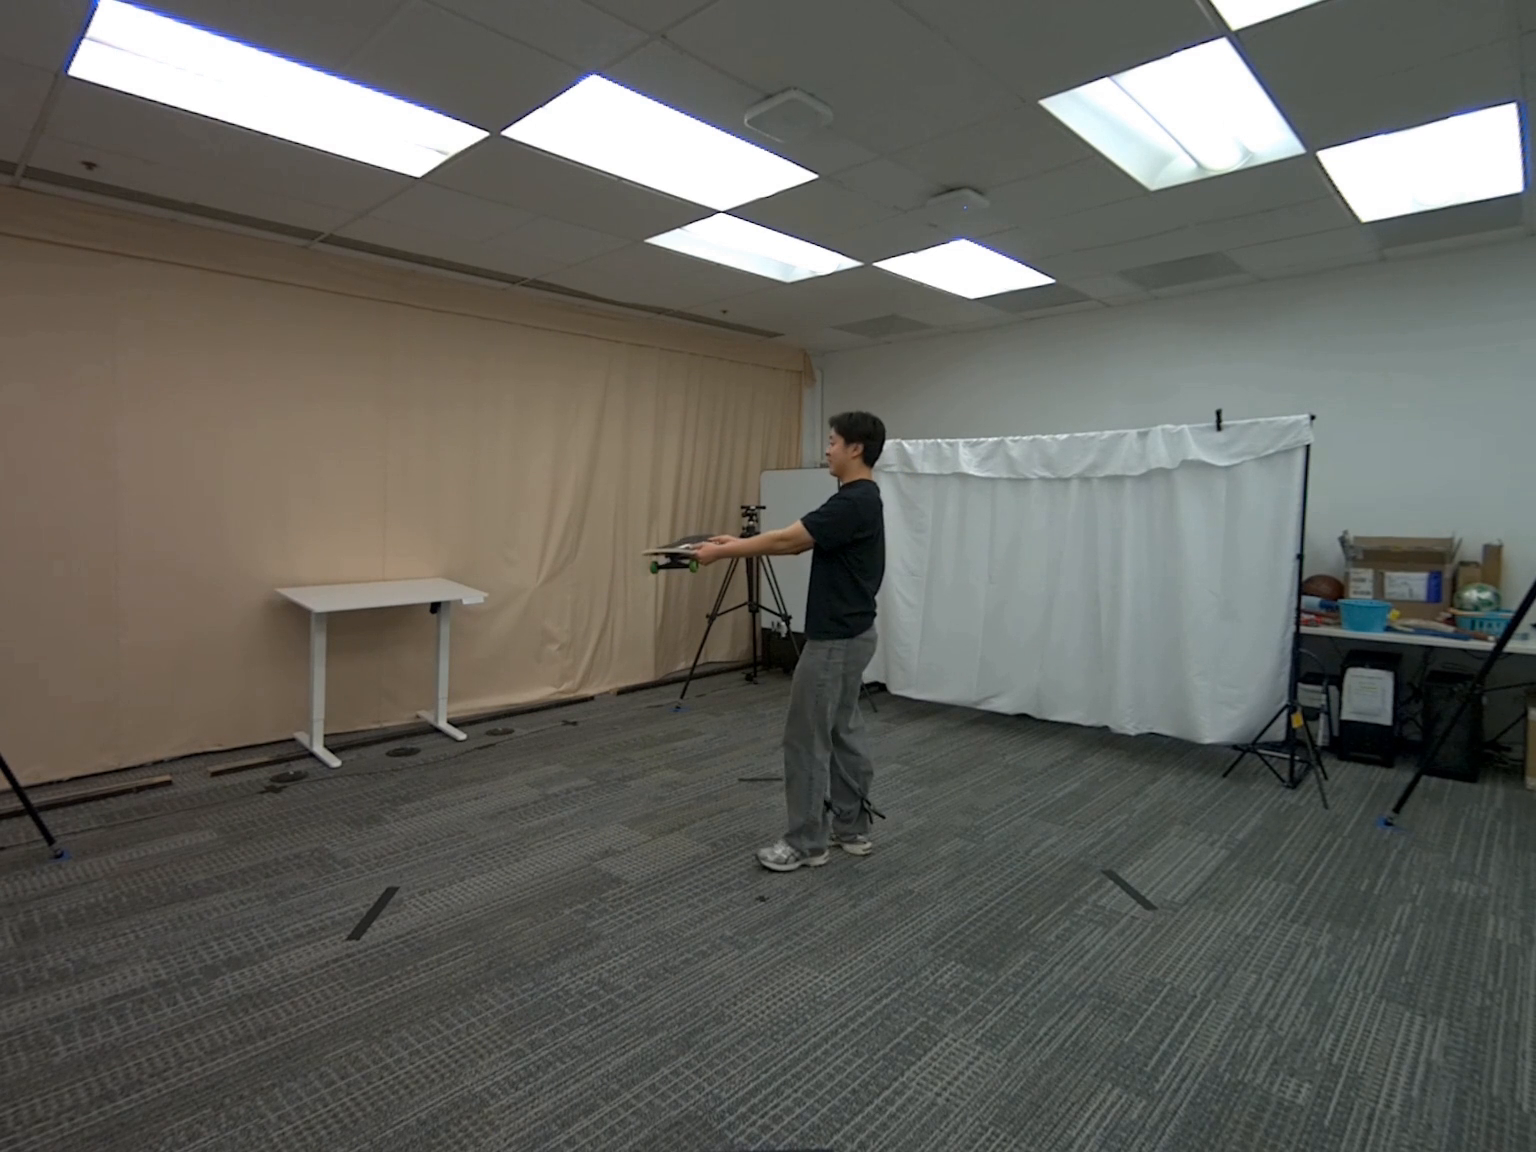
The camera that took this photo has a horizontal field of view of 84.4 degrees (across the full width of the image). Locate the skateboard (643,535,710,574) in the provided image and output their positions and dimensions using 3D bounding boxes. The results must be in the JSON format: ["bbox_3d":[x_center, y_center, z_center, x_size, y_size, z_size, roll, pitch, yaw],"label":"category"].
[{"bbox_3d":[-0.340,-0.079,3.422,0.195,0.110,0.781,-1,6,7],"label":"skateboard"}]
